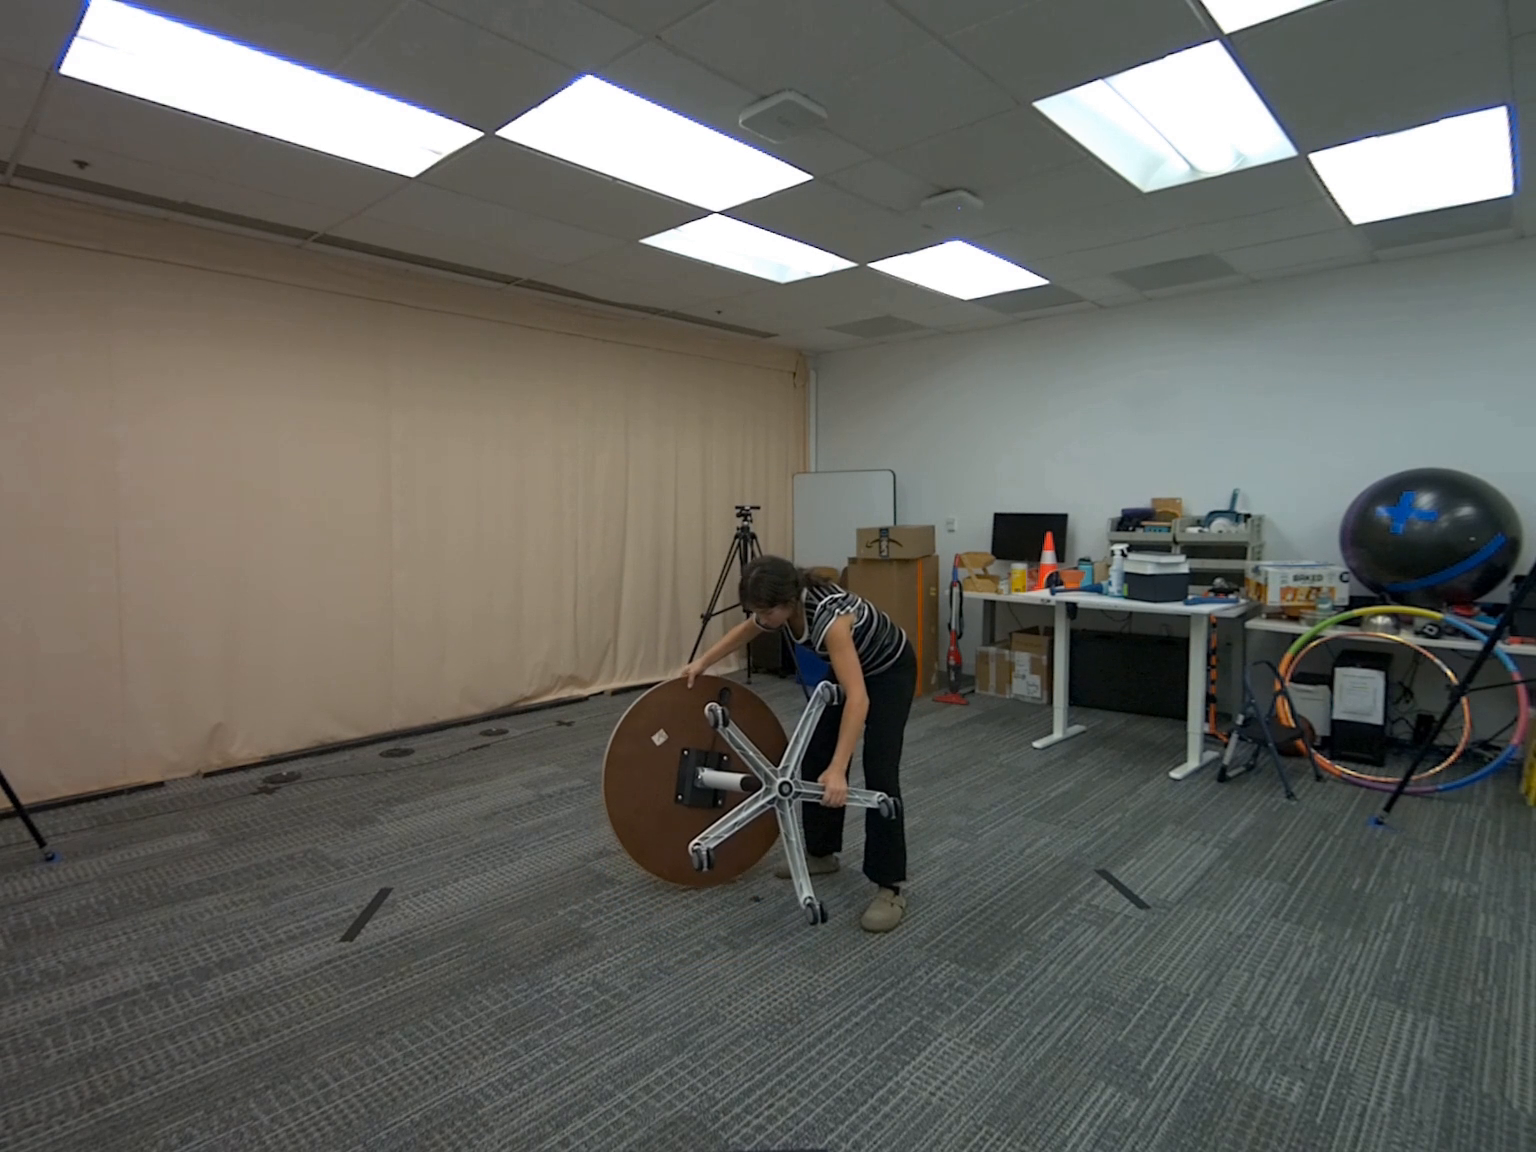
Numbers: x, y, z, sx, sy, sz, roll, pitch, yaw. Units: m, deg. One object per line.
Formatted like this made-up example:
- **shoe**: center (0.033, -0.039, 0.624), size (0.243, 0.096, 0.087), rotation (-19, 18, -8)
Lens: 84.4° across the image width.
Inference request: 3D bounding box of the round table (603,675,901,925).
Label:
- **round table**: center (-0.076, 0.702, 2.804), size (0.746, 0.769, 0.807), rotation (-2, -9, -24)
